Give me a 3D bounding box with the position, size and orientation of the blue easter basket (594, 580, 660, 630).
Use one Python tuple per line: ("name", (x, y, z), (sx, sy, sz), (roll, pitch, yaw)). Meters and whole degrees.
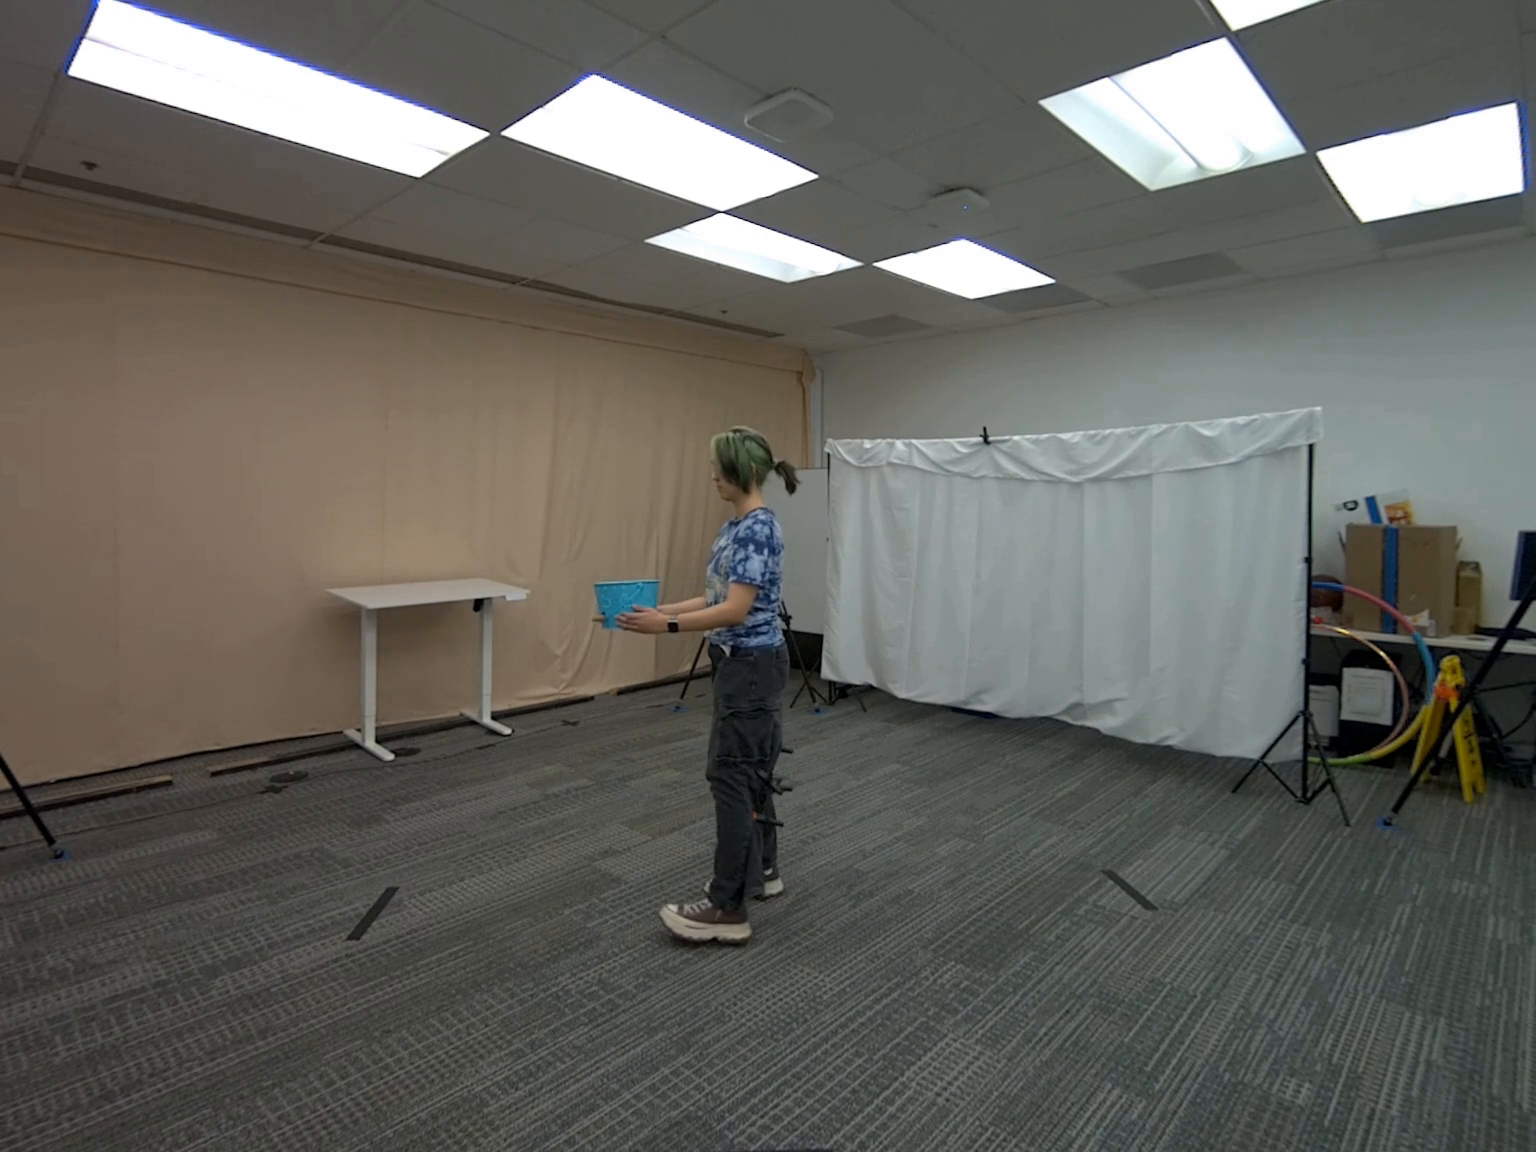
("blue easter basket", (-0.476, 0.099, 2.845), (0.243, 0.156, 0.244), (-2, 1, -2))
